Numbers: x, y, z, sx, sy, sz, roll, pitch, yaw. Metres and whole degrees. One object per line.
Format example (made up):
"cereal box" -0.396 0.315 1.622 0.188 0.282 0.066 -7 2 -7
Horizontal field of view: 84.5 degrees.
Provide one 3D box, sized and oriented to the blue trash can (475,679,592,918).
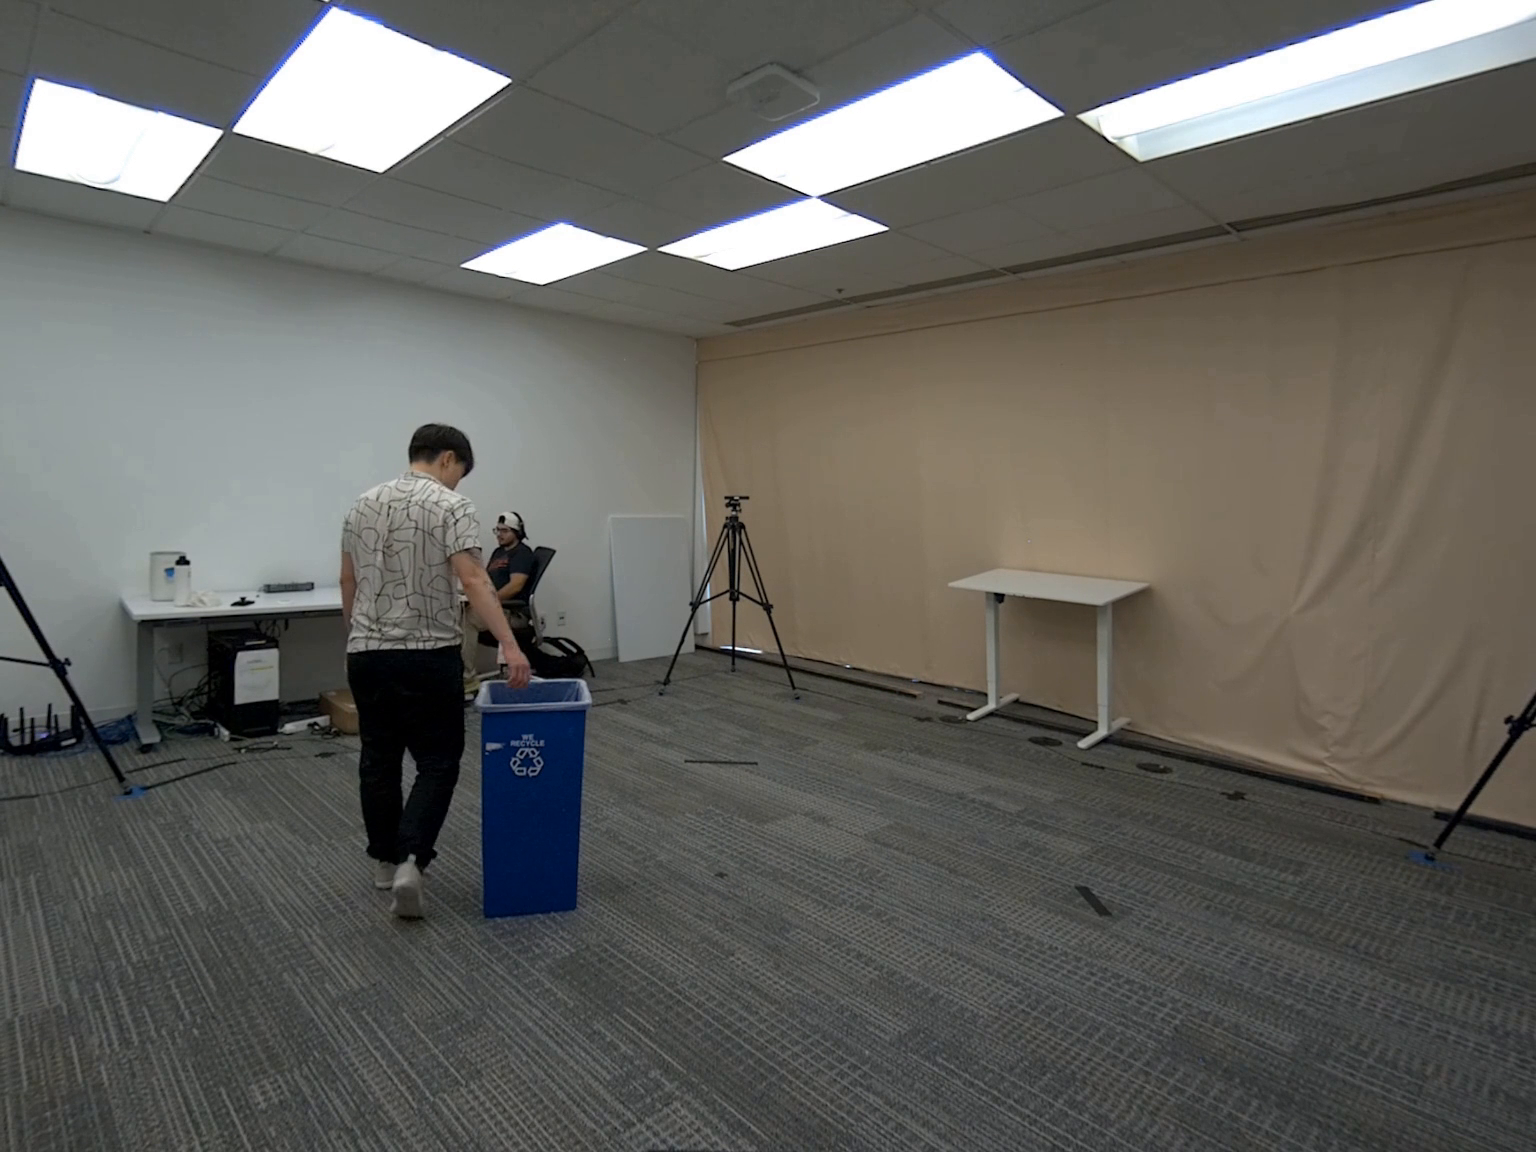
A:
"blue trash can" -0.818 0.750 2.908 0.370 0.712 0.383 1 4 -15
